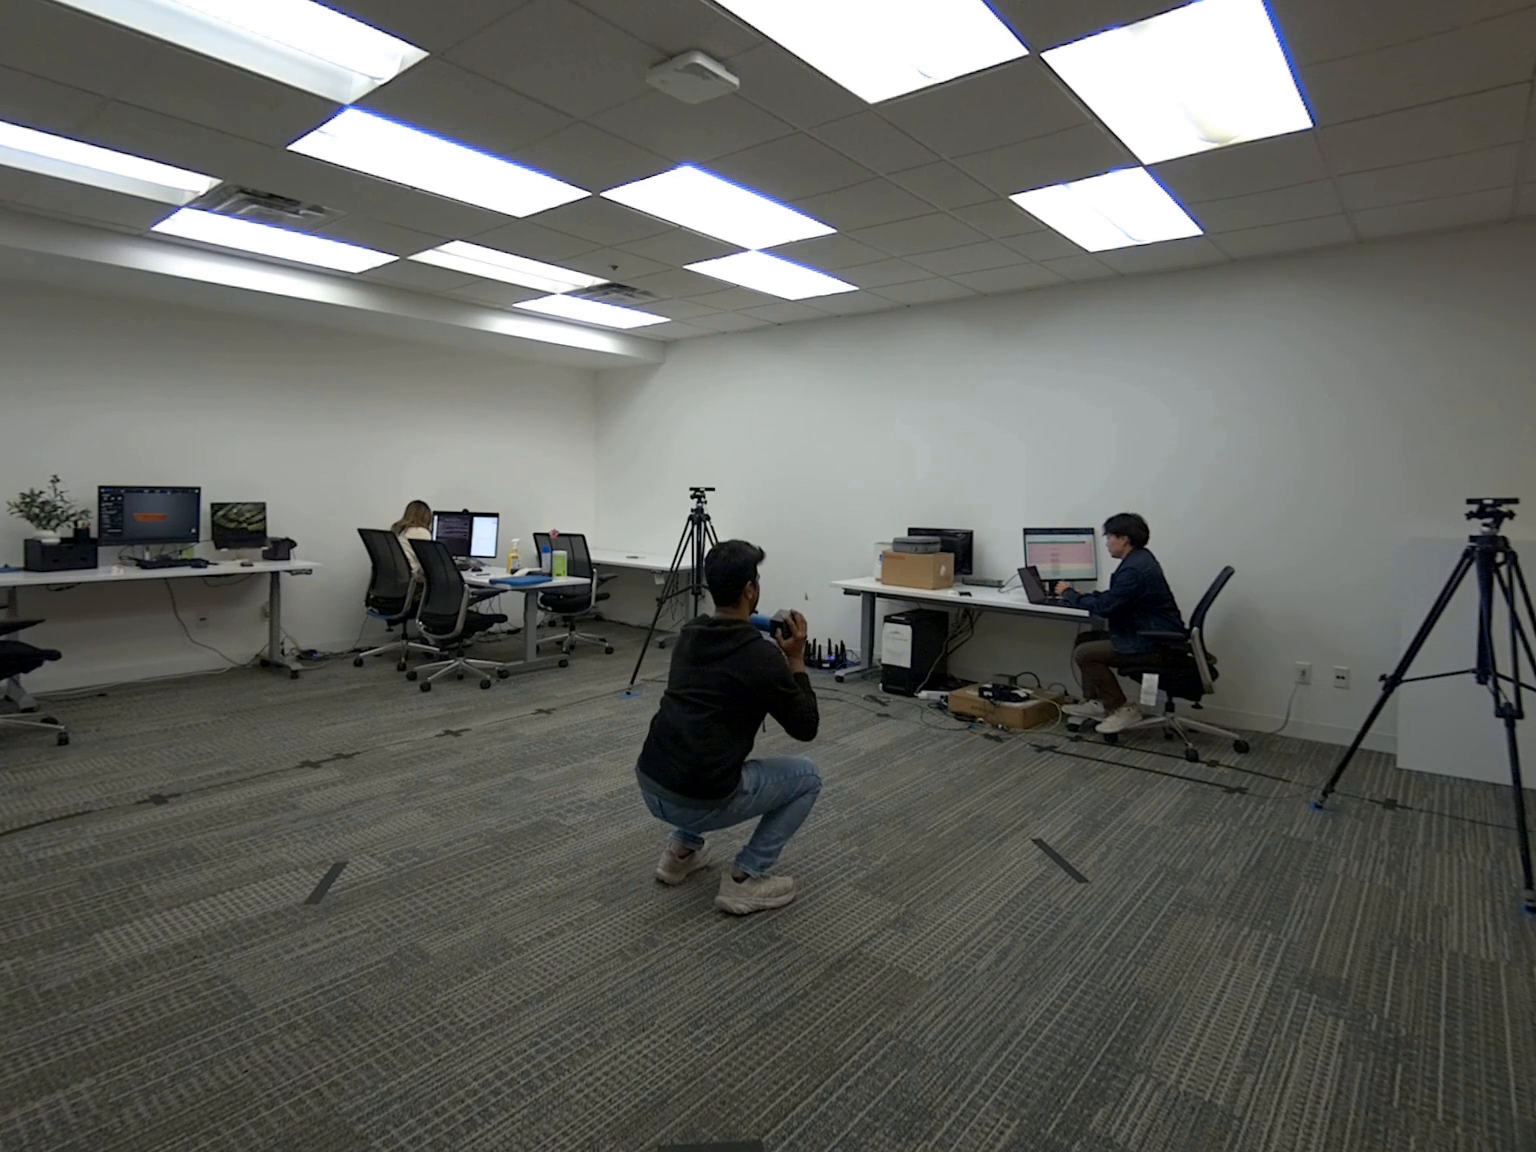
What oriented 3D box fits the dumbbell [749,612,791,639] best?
[{"bbox_3d":[-0.033,0.164,3.095,0.303,0.122,0.105,4,7,42],"label":"dumbbell"}]
